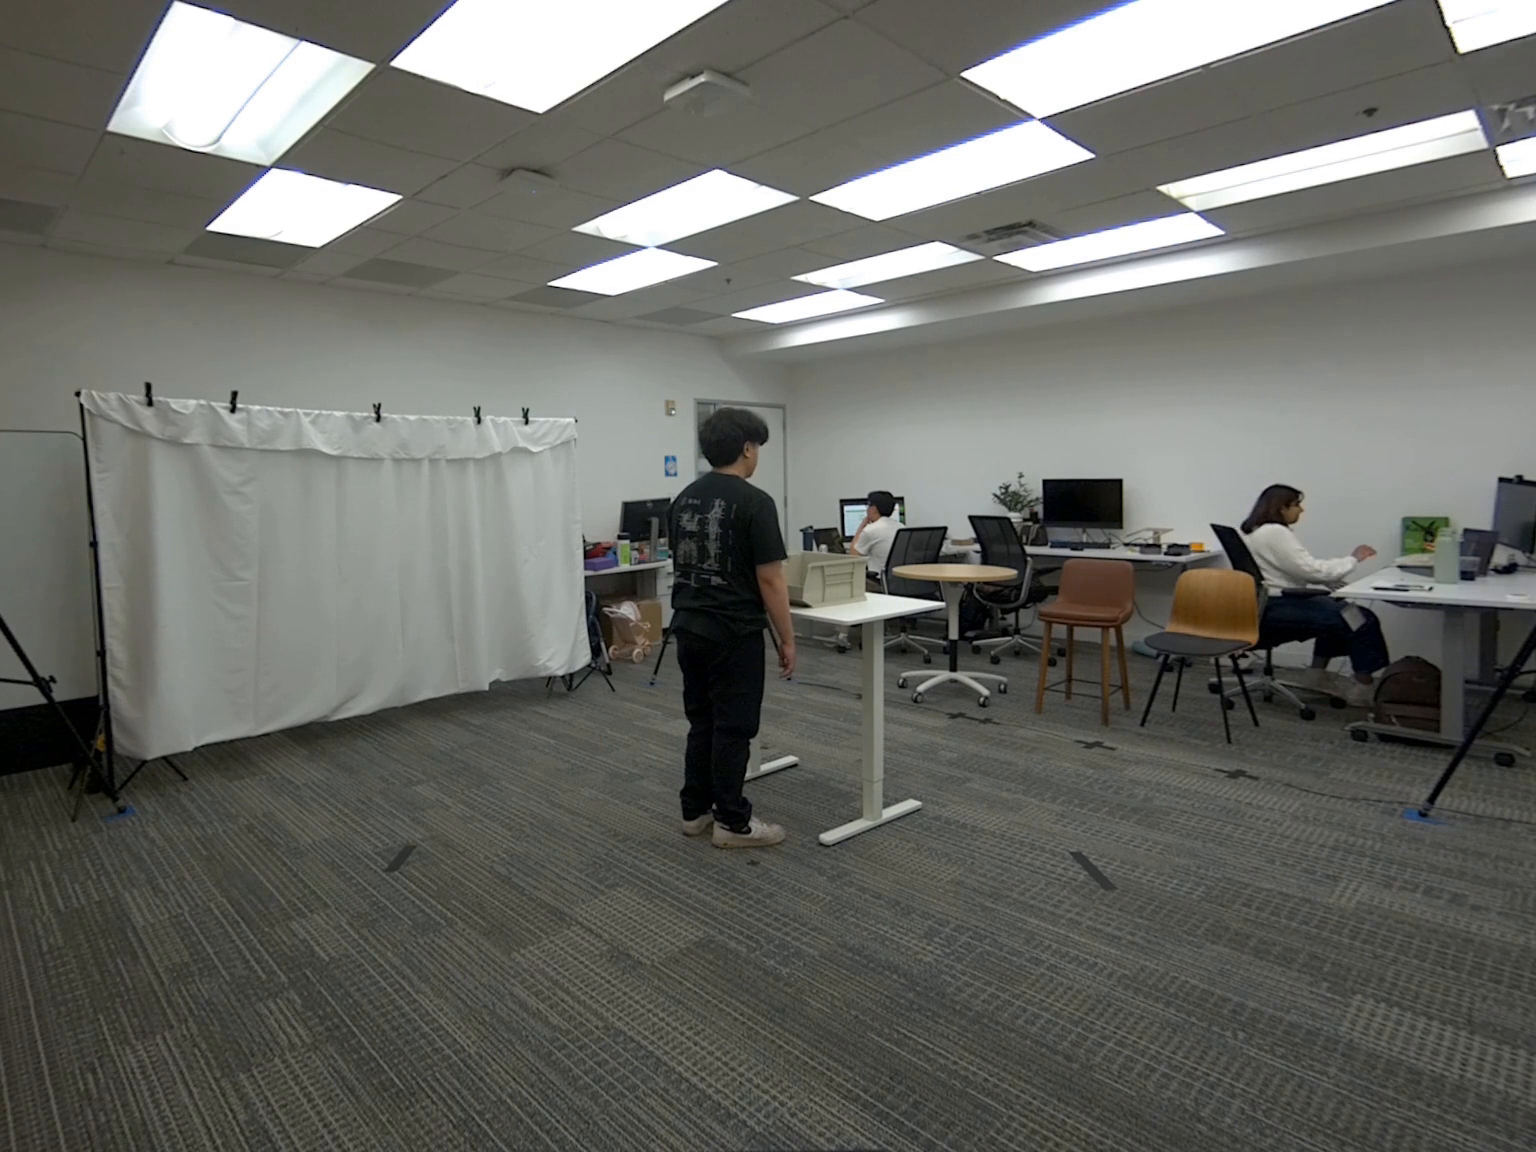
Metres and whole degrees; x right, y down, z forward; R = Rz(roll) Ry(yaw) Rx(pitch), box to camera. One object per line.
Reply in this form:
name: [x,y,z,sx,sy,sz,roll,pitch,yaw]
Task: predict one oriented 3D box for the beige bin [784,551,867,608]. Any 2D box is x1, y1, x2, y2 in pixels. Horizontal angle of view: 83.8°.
beige bin: [0.154,0.011,3.607,0.367,0.188,0.435,-5,7,-38]
